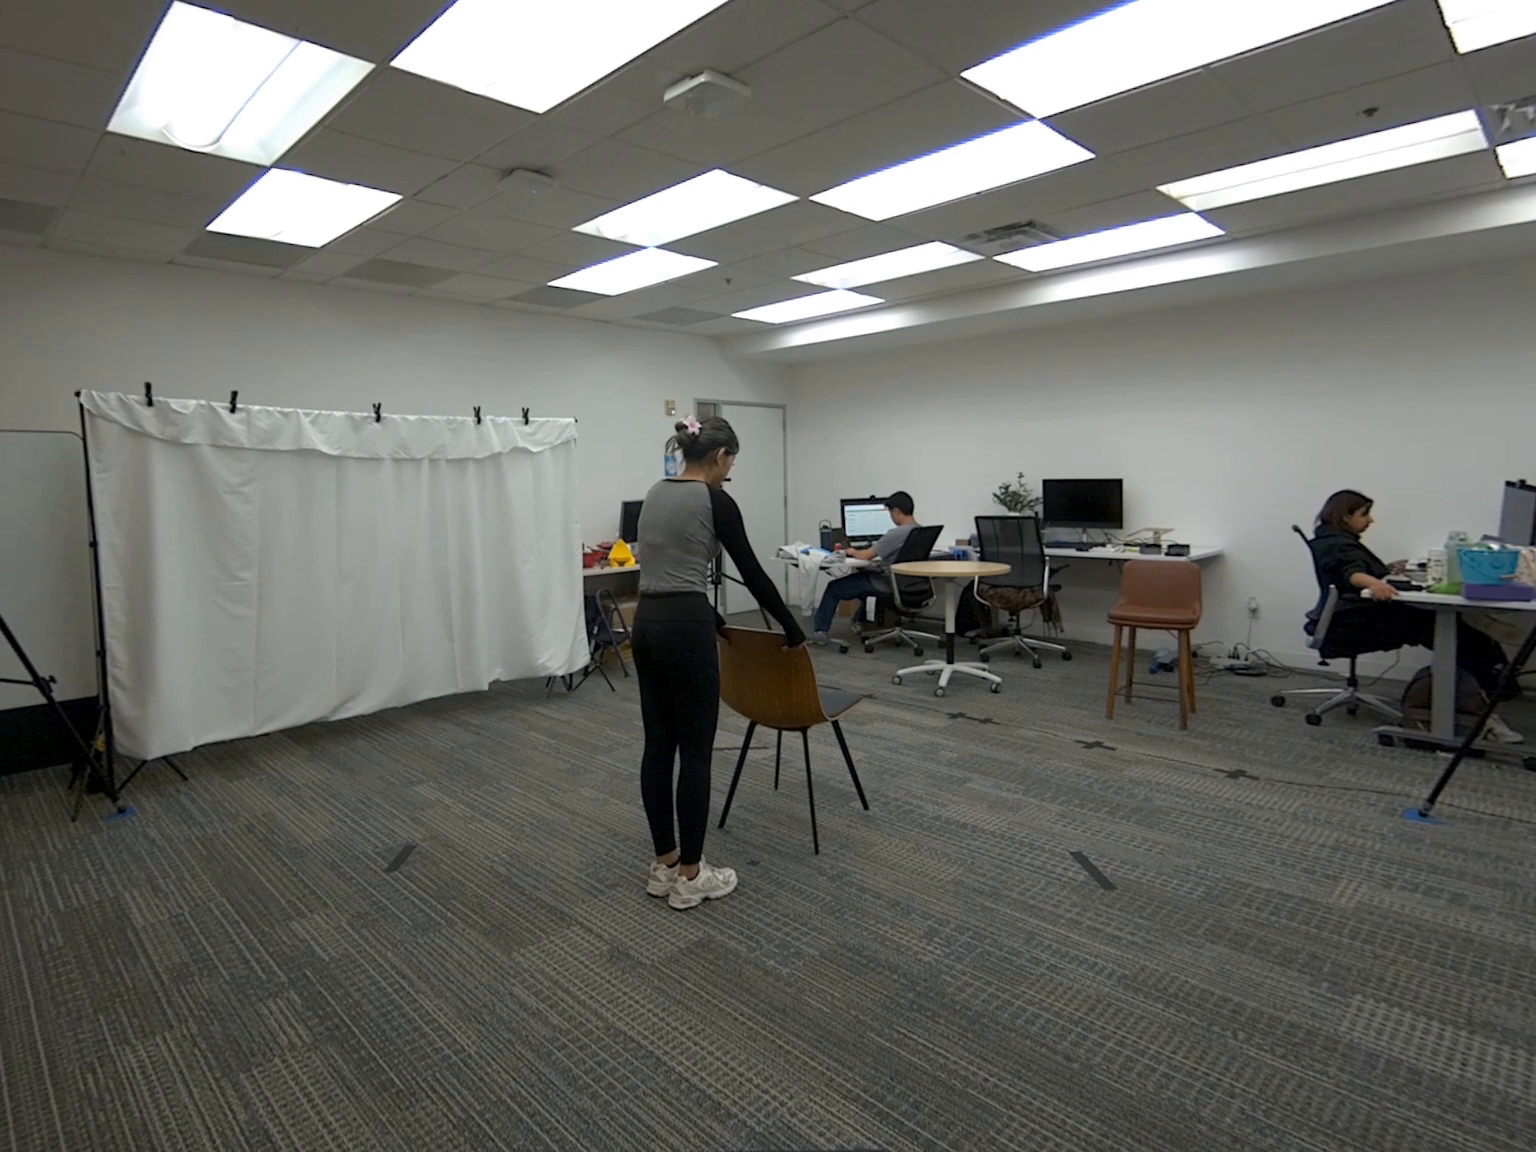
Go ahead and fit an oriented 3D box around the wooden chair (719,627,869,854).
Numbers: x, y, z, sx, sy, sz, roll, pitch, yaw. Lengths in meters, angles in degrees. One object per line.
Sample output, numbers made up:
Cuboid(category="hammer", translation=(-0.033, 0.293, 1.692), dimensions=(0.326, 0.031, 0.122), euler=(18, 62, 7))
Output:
Cuboid(category="wooden chair", translation=(0.094, 0.564, 3.435), dimensions=(0.491, 0.869, 0.514), euler=(2, 12, 34))
